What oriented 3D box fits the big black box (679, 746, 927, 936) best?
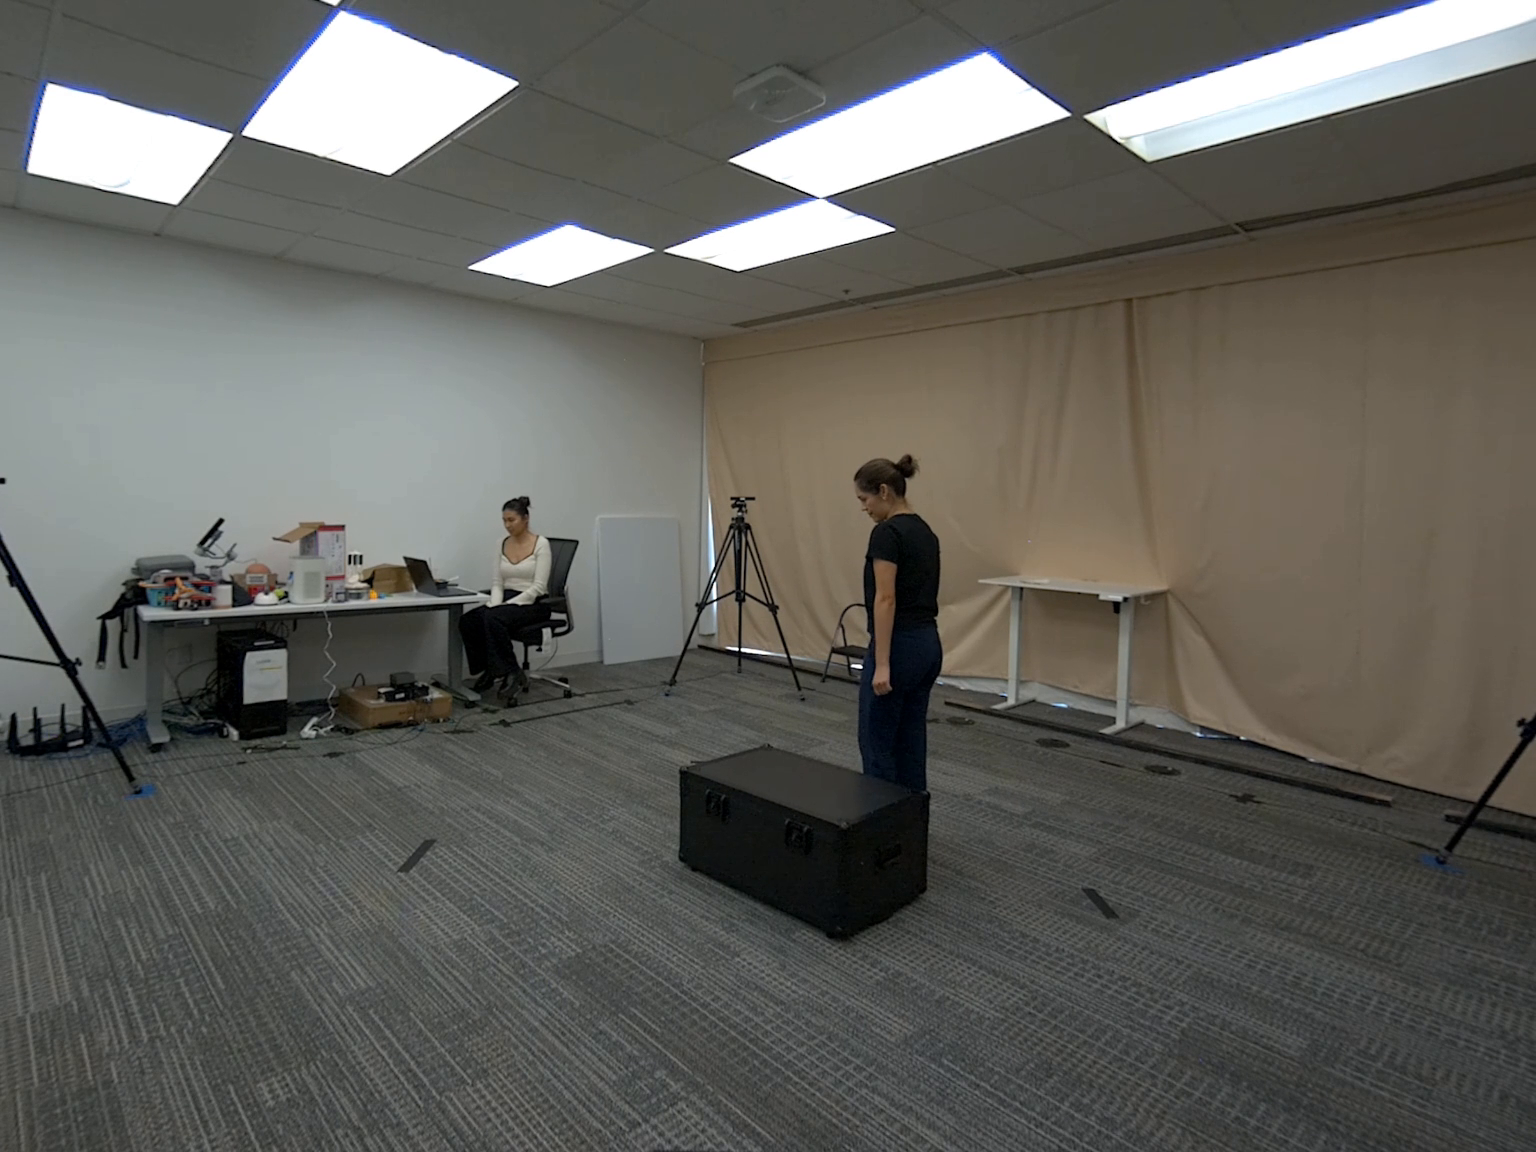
[{"bbox_3d":[0.087,0.925,3.067,0.884,0.395,0.509,7,6,43],"label":"big black box"}]
